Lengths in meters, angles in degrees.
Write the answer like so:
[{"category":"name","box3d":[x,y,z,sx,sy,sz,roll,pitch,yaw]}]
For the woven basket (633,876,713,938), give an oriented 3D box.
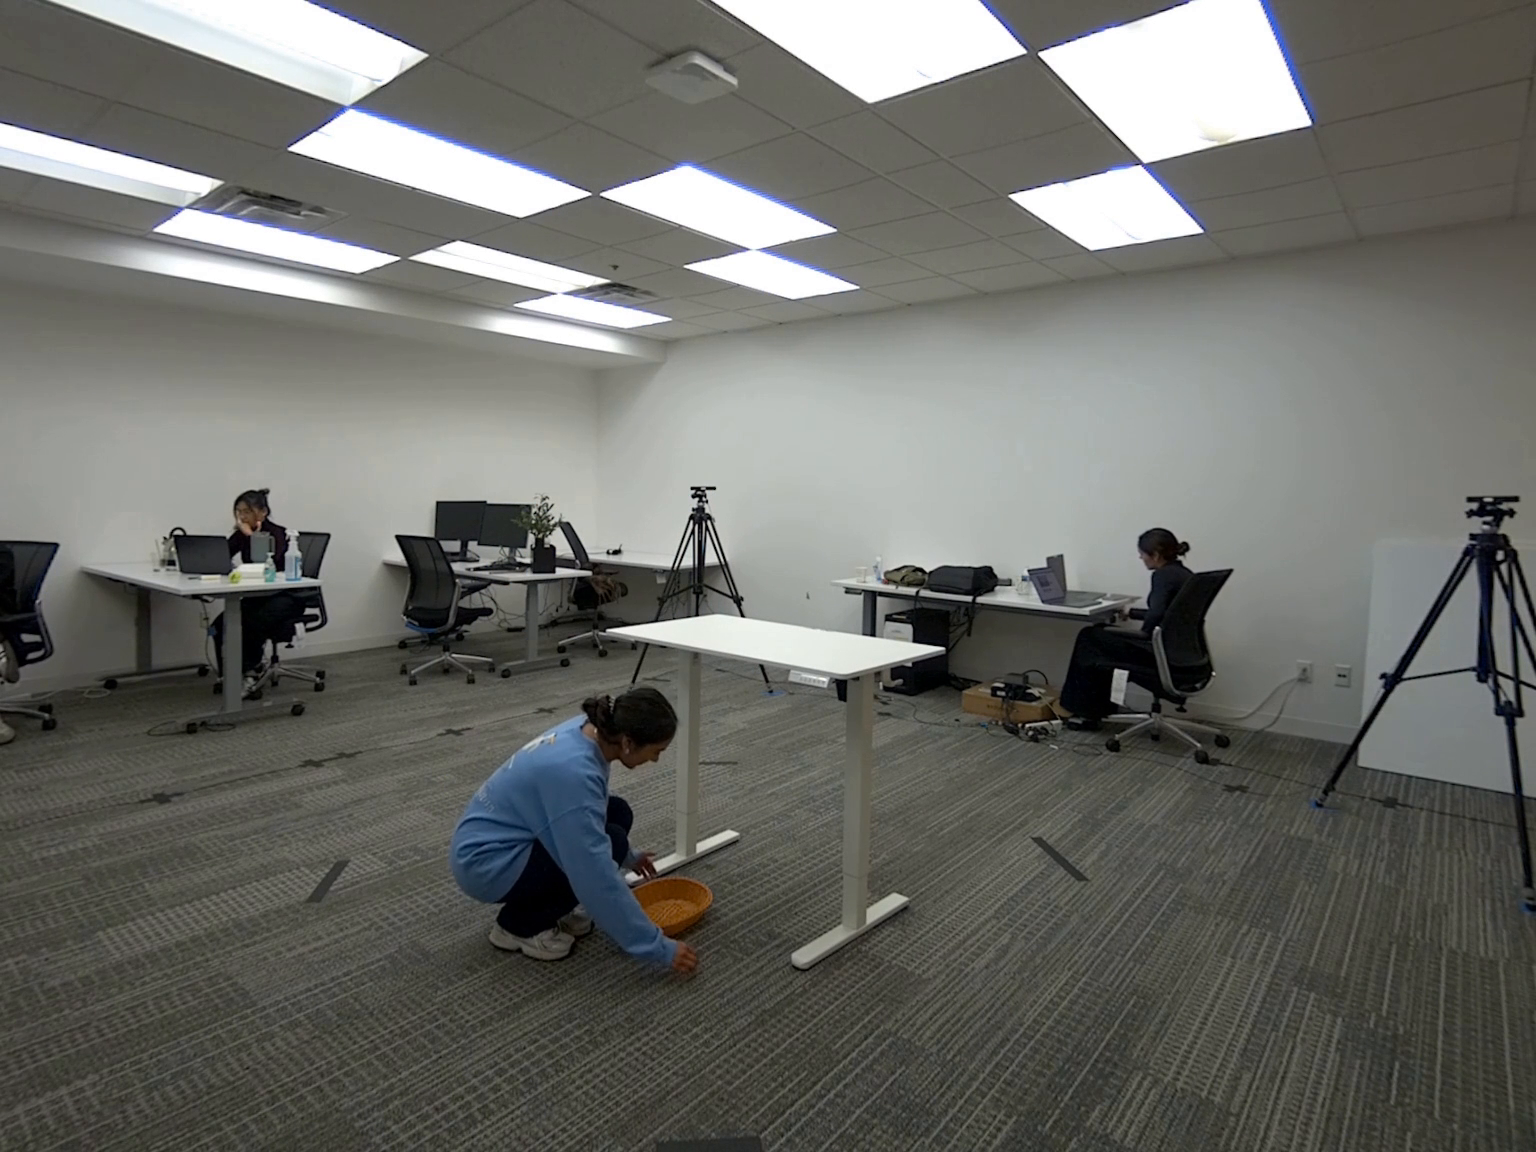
[{"category":"woven basket","box3d":[-0.339,1.061,2.714,0.261,0.073,0.340,7,8,39]}]
